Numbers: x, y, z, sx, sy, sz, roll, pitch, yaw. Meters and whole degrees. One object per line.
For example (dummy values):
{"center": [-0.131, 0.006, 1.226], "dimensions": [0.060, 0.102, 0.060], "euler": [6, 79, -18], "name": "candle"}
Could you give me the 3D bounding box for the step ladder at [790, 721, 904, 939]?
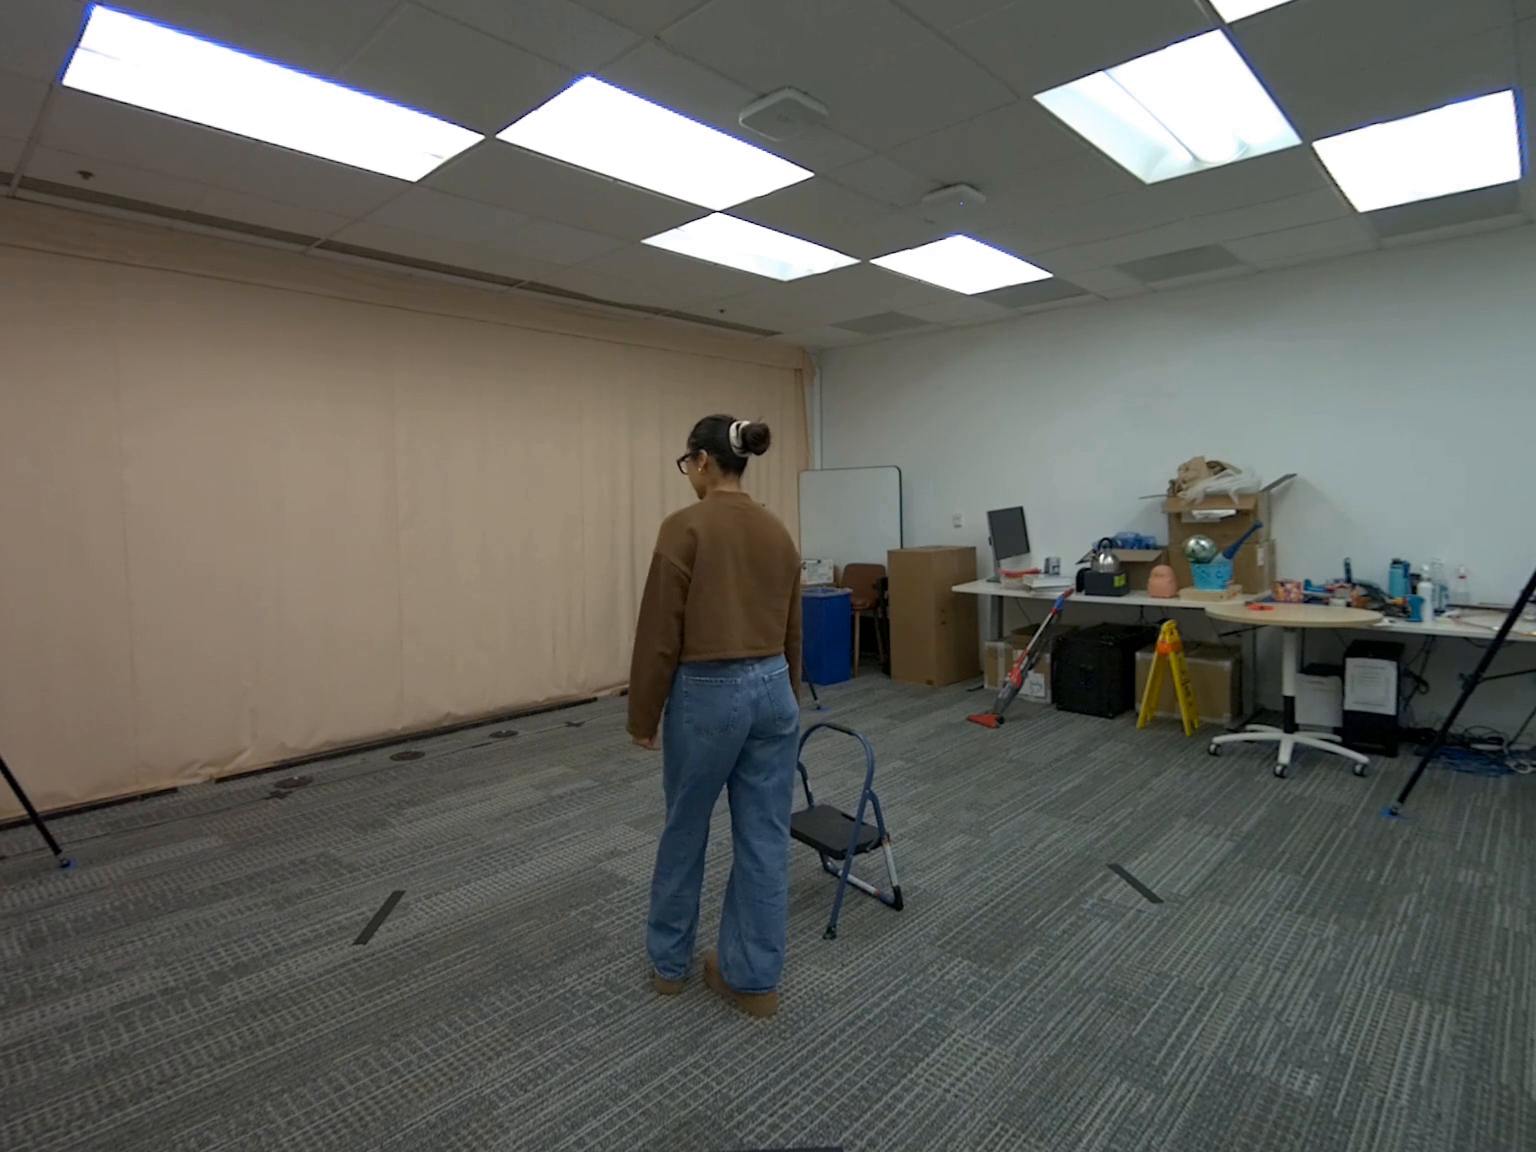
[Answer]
{"center": [0.209, 0.833, 2.938], "dimensions": [0.339, 0.605, 0.444], "euler": [-3, 4, -35], "name": "step ladder"}
